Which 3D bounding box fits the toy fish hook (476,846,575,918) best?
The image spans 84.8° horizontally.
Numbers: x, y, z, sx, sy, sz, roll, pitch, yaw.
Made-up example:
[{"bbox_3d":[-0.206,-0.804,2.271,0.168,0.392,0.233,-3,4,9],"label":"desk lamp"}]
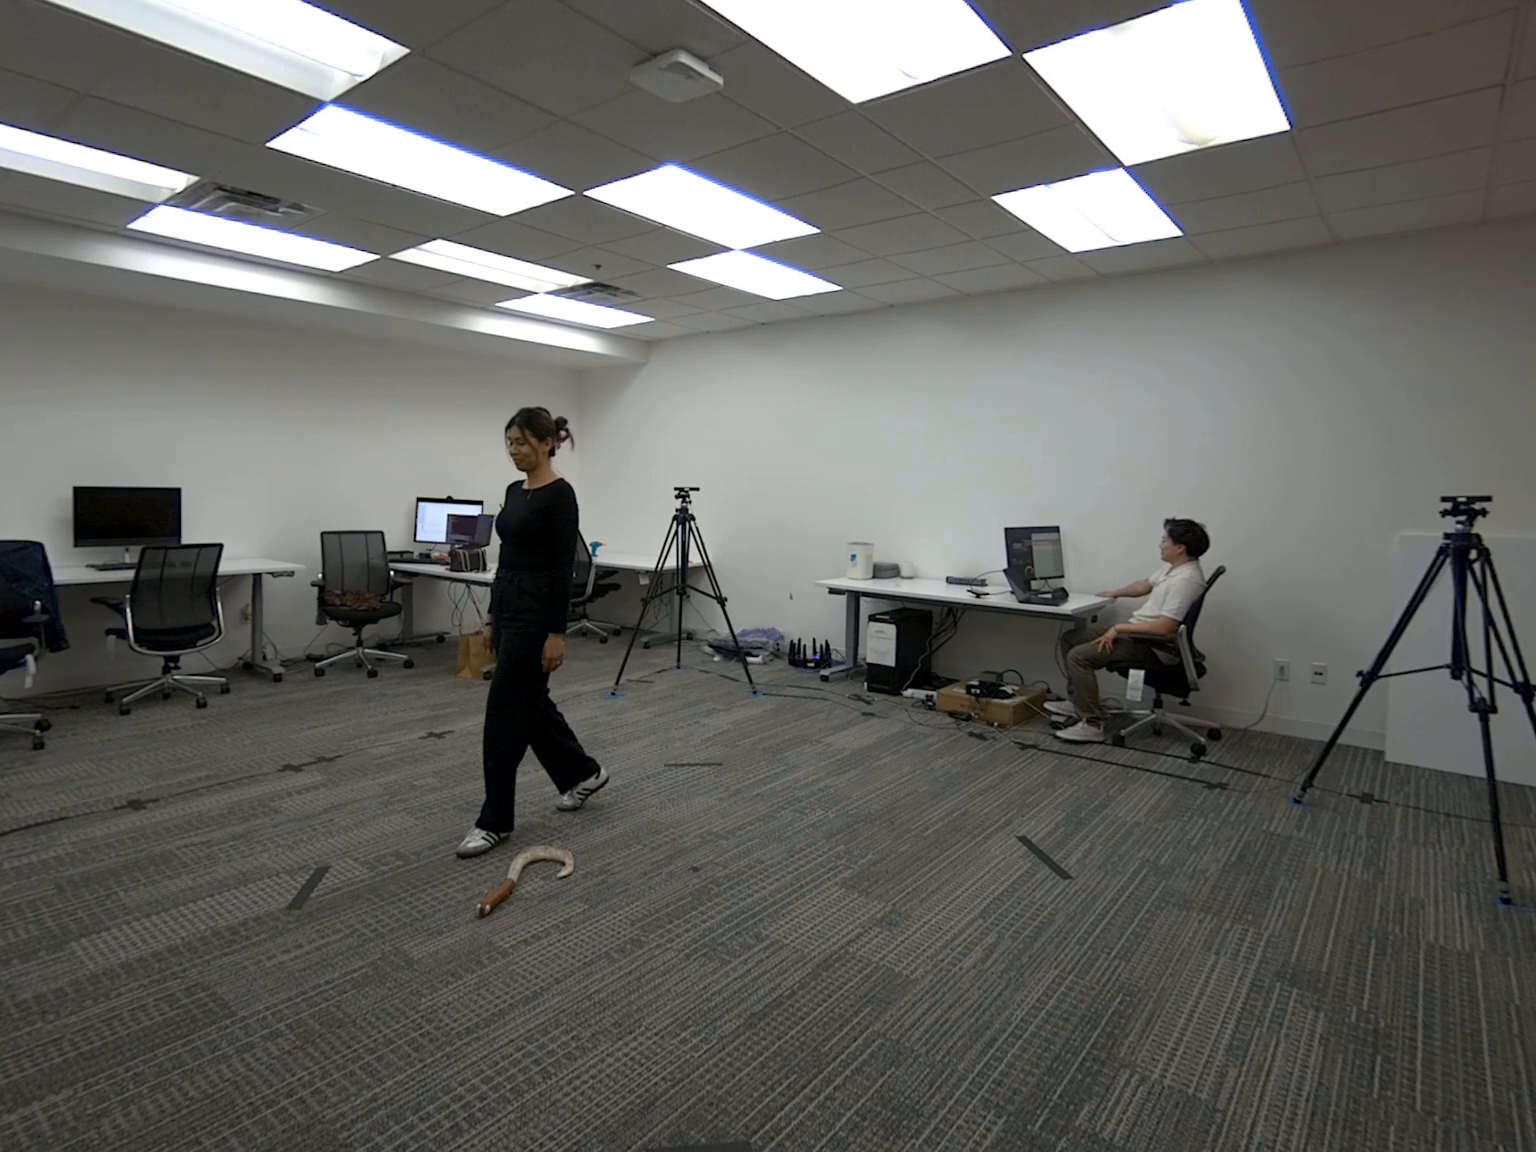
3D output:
[{"bbox_3d":[-0.841,1.053,2.951,0.227,0.048,0.503,1,6,9],"label":"toy fish hook"}]
